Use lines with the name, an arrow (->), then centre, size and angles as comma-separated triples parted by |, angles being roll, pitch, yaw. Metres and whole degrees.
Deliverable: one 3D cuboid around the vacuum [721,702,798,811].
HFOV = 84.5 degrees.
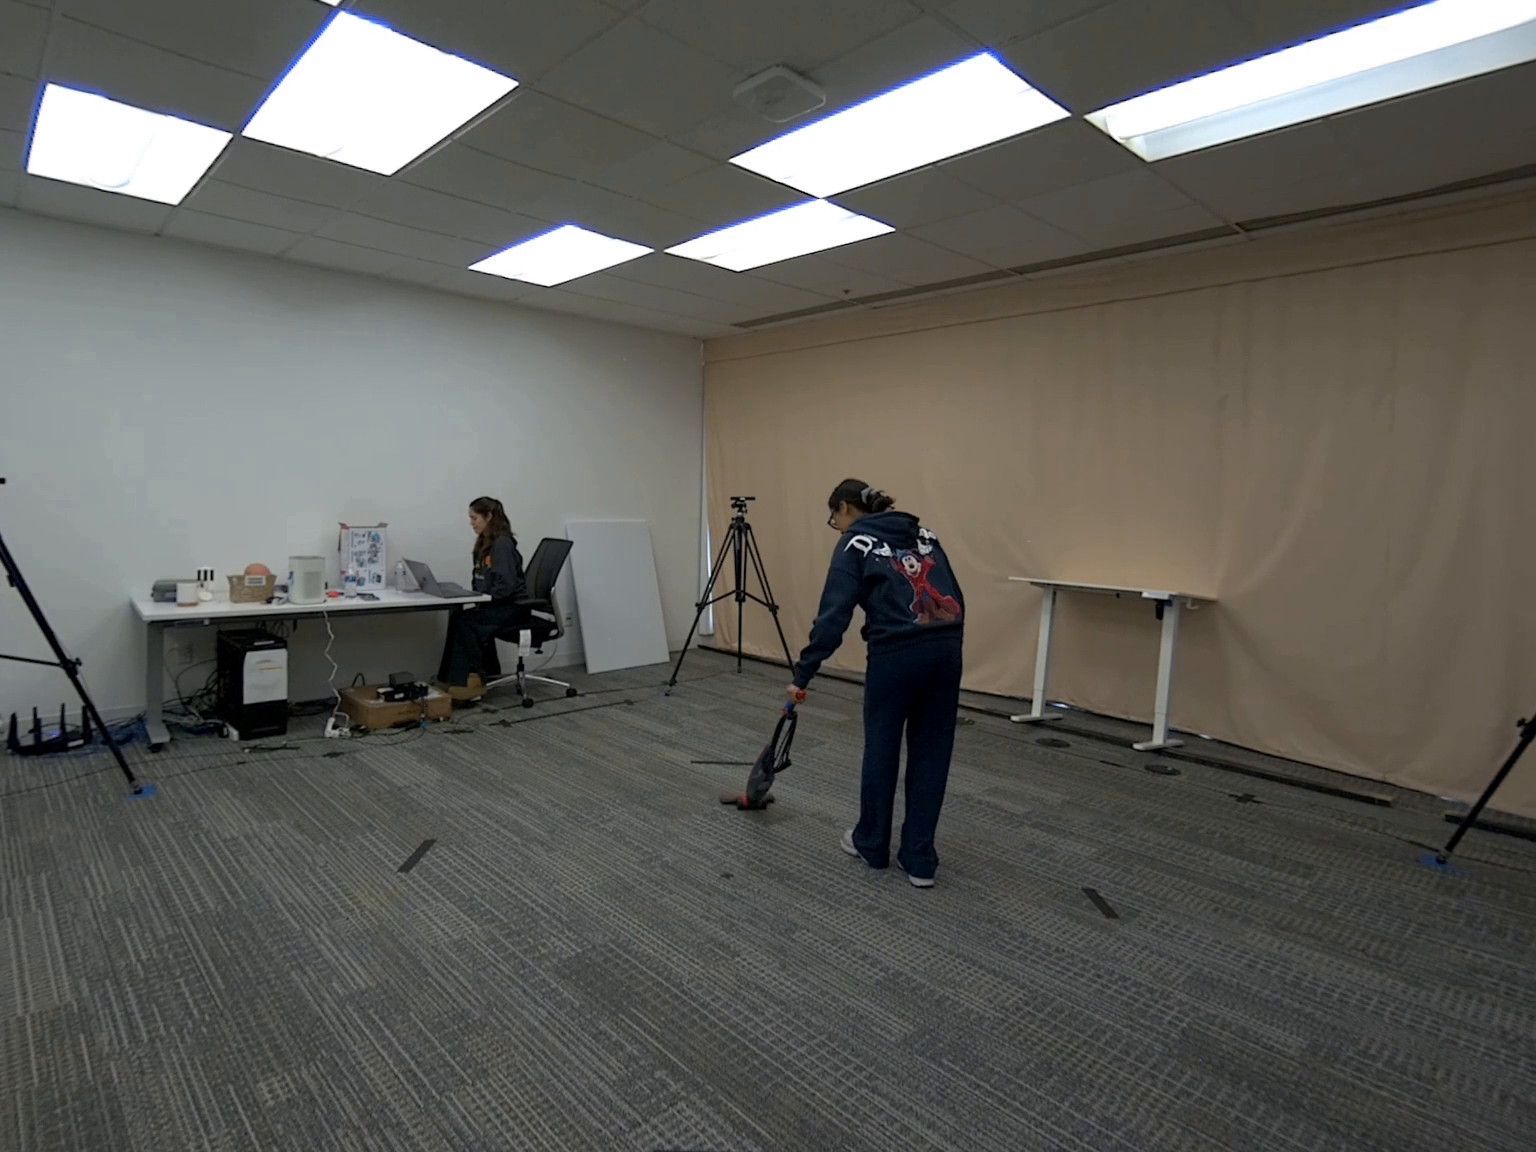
vacuum -> 0.005, 0.733, 3.451 | 0.250, 0.147, 1.035 | -1, -35, -16
